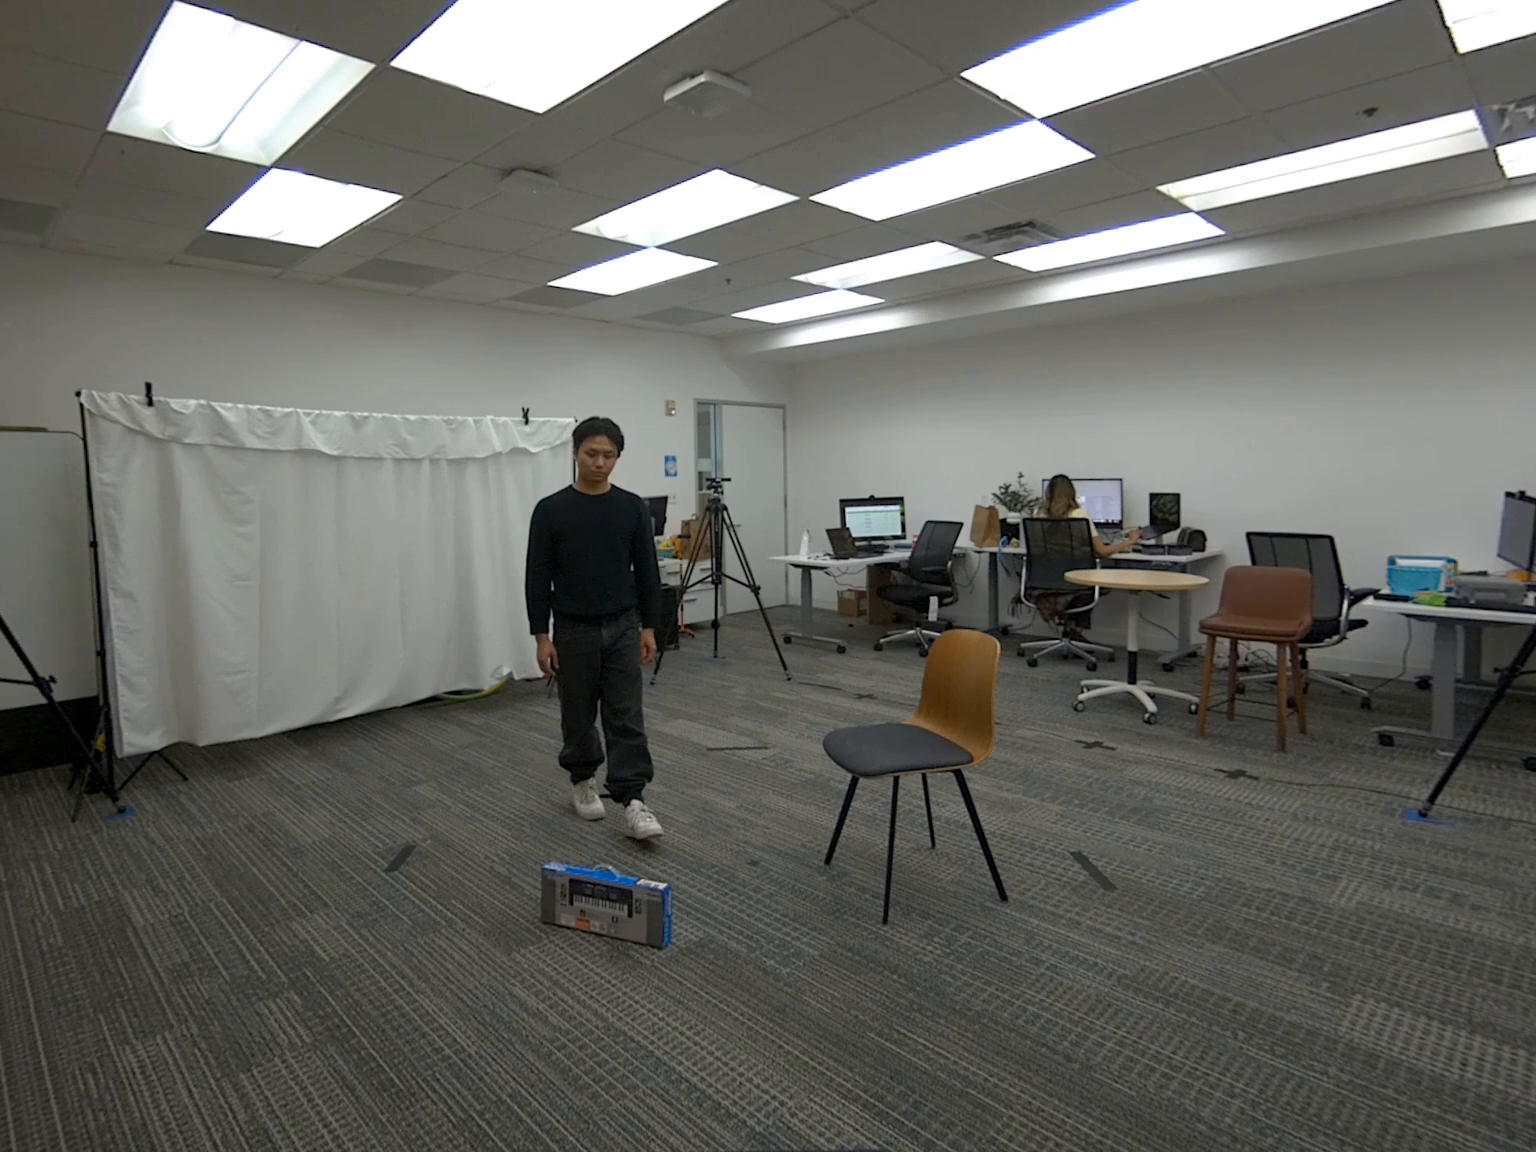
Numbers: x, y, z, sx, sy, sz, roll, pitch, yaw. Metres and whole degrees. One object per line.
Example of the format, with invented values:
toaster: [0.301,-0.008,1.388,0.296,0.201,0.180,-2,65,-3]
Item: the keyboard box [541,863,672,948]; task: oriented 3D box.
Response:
keyboard box: [-0.505,1.017,2.649,0.445,0.176,0.058,1,0,21]
